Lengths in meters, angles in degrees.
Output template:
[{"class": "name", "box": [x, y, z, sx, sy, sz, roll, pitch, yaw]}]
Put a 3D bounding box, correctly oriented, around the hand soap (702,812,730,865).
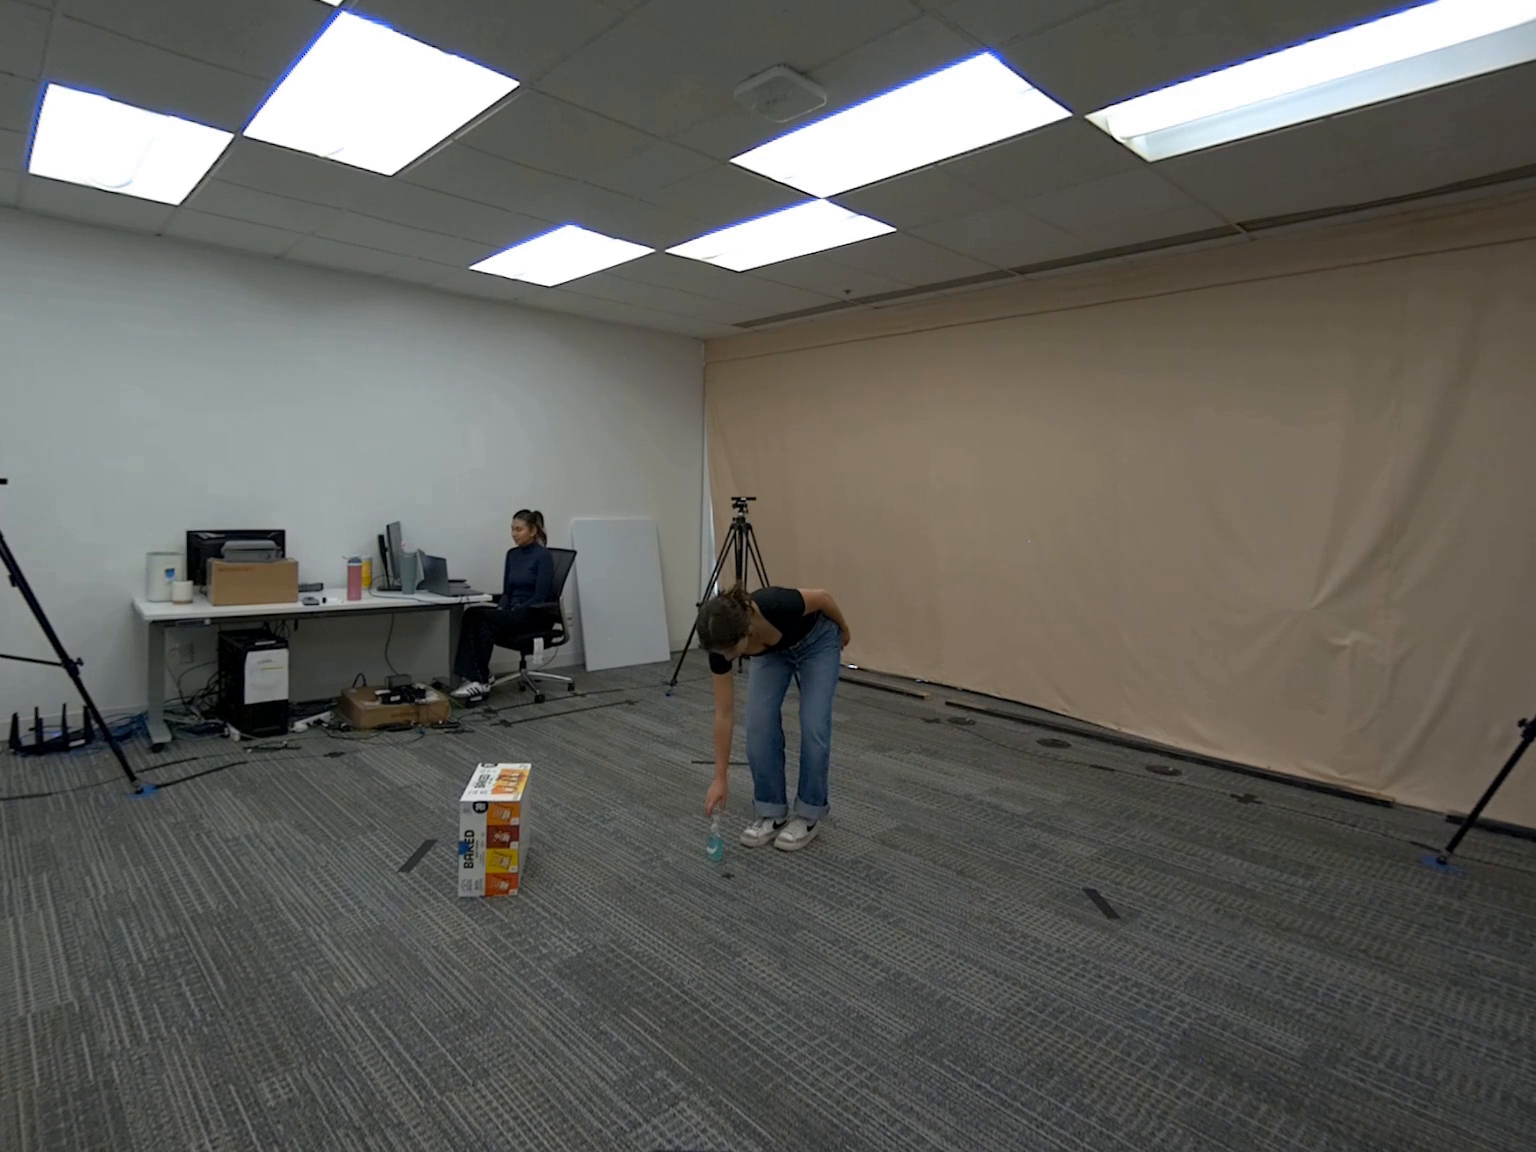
[{"class": "hand soap", "box": [-0.215, 1.015, 3.246, 0.042, 0.168, 0.086, 5, -1, -40]}]
